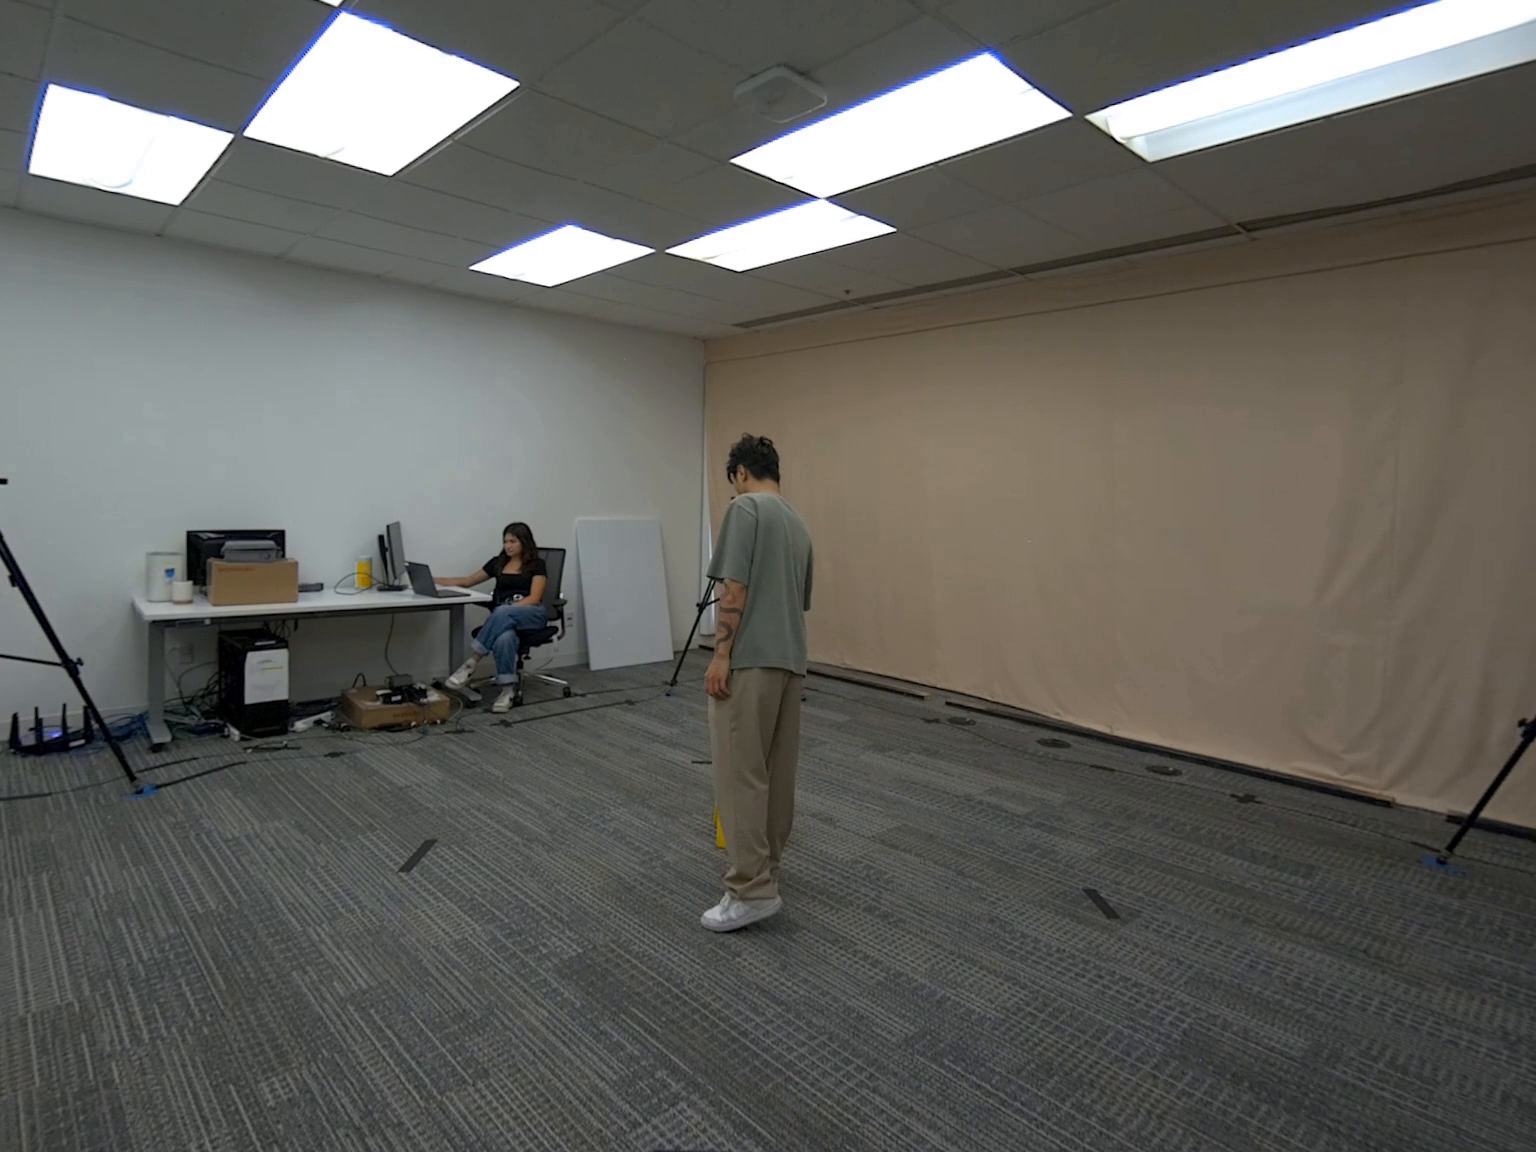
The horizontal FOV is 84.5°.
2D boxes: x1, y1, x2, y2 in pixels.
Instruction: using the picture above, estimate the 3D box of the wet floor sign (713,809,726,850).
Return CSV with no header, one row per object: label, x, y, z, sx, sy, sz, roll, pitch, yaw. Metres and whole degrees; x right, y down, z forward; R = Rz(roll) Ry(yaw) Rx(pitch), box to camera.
wet floor sign,-0.072,0.755,3.473,0.281,0.645,0.291,2,2,-4
